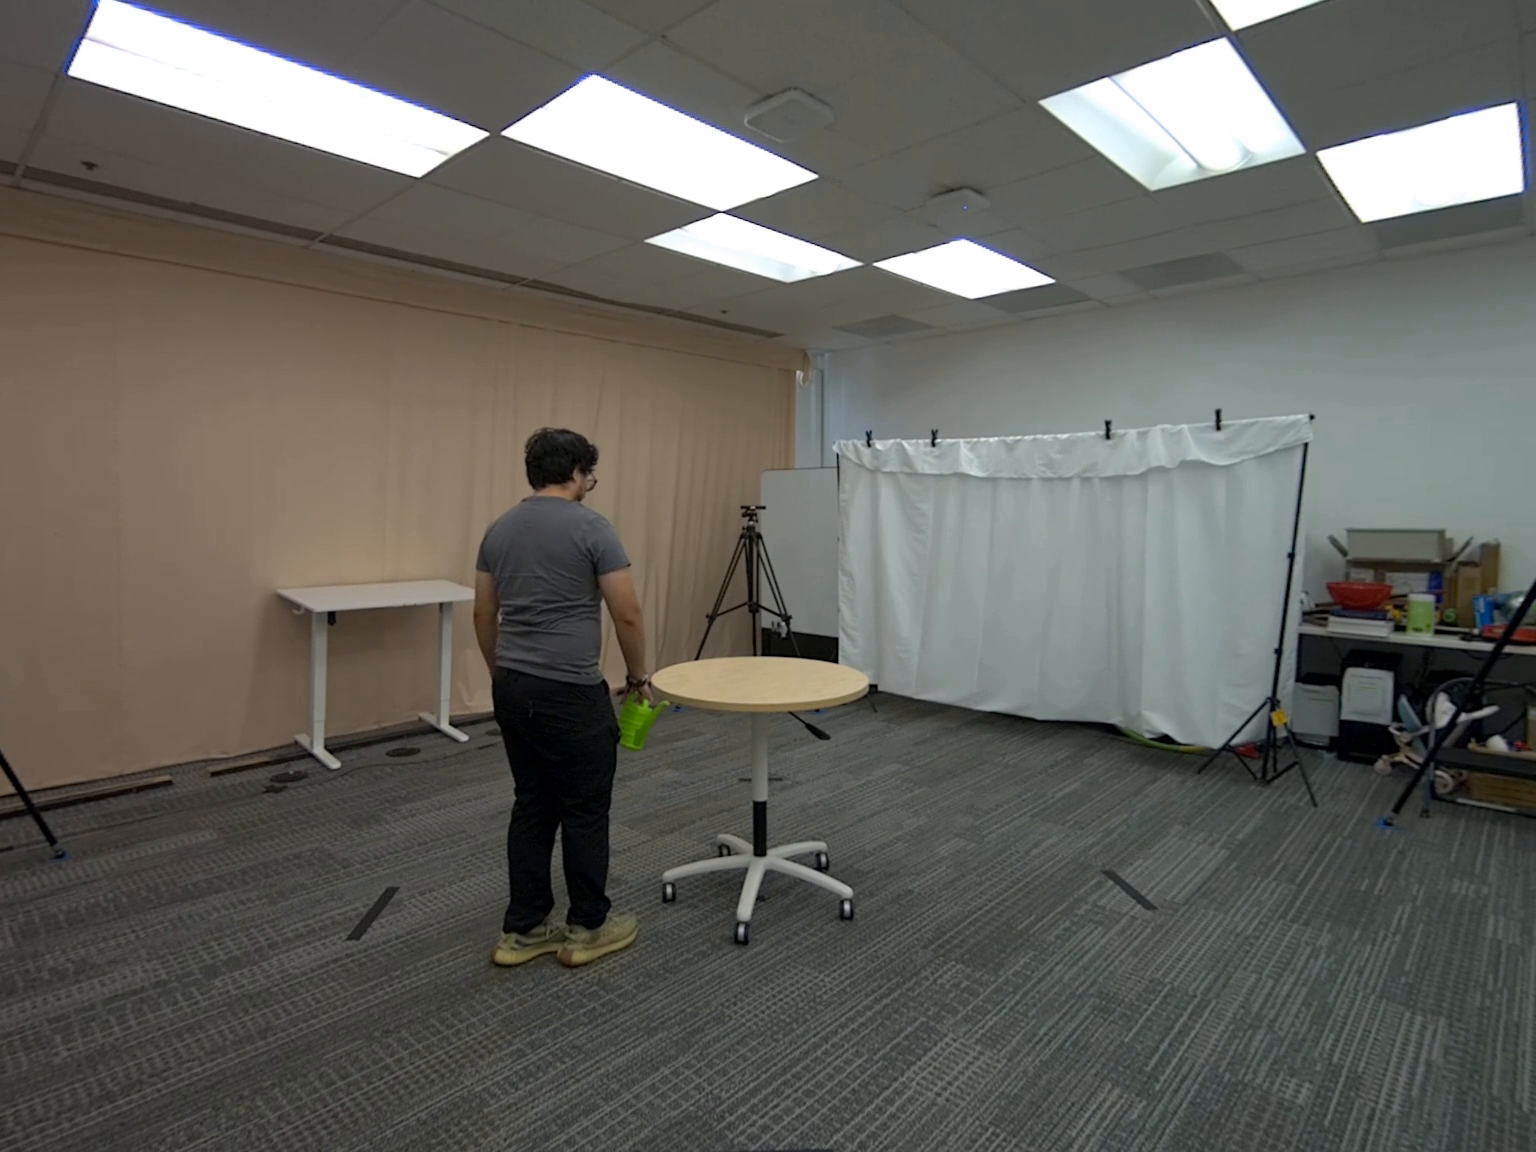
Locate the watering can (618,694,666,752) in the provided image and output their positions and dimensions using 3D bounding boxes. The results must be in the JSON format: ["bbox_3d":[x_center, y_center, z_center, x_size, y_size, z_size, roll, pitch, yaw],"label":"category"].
[{"bbox_3d":[-0.419,0.474,2.683,0.096,0.177,0.284,17,-5,-22],"label":"watering can"}]
